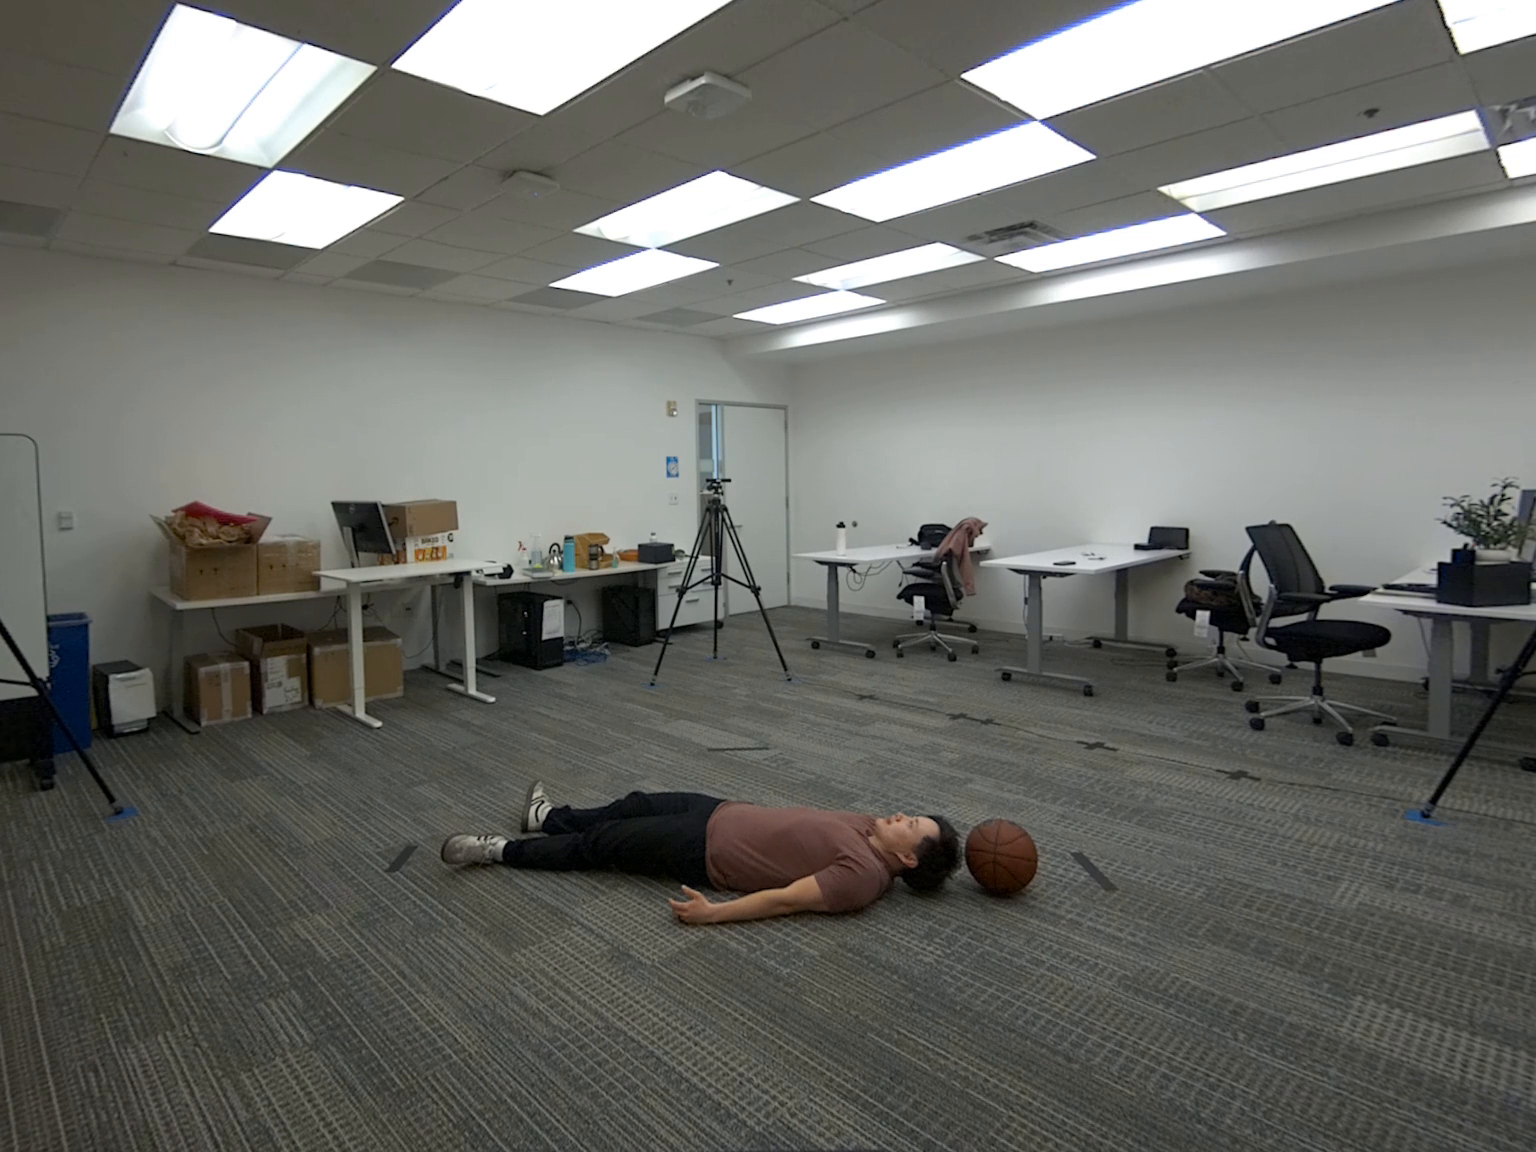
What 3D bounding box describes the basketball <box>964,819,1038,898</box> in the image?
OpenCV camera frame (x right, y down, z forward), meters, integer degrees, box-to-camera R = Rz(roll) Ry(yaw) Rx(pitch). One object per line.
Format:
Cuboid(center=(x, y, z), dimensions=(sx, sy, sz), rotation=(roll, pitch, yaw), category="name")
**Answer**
Cuboid(center=(0.787, 0.937, 2.874), dimensions=(0.236, 0.236, 0.236), rotation=(0, 1, -2), category="basketball")
